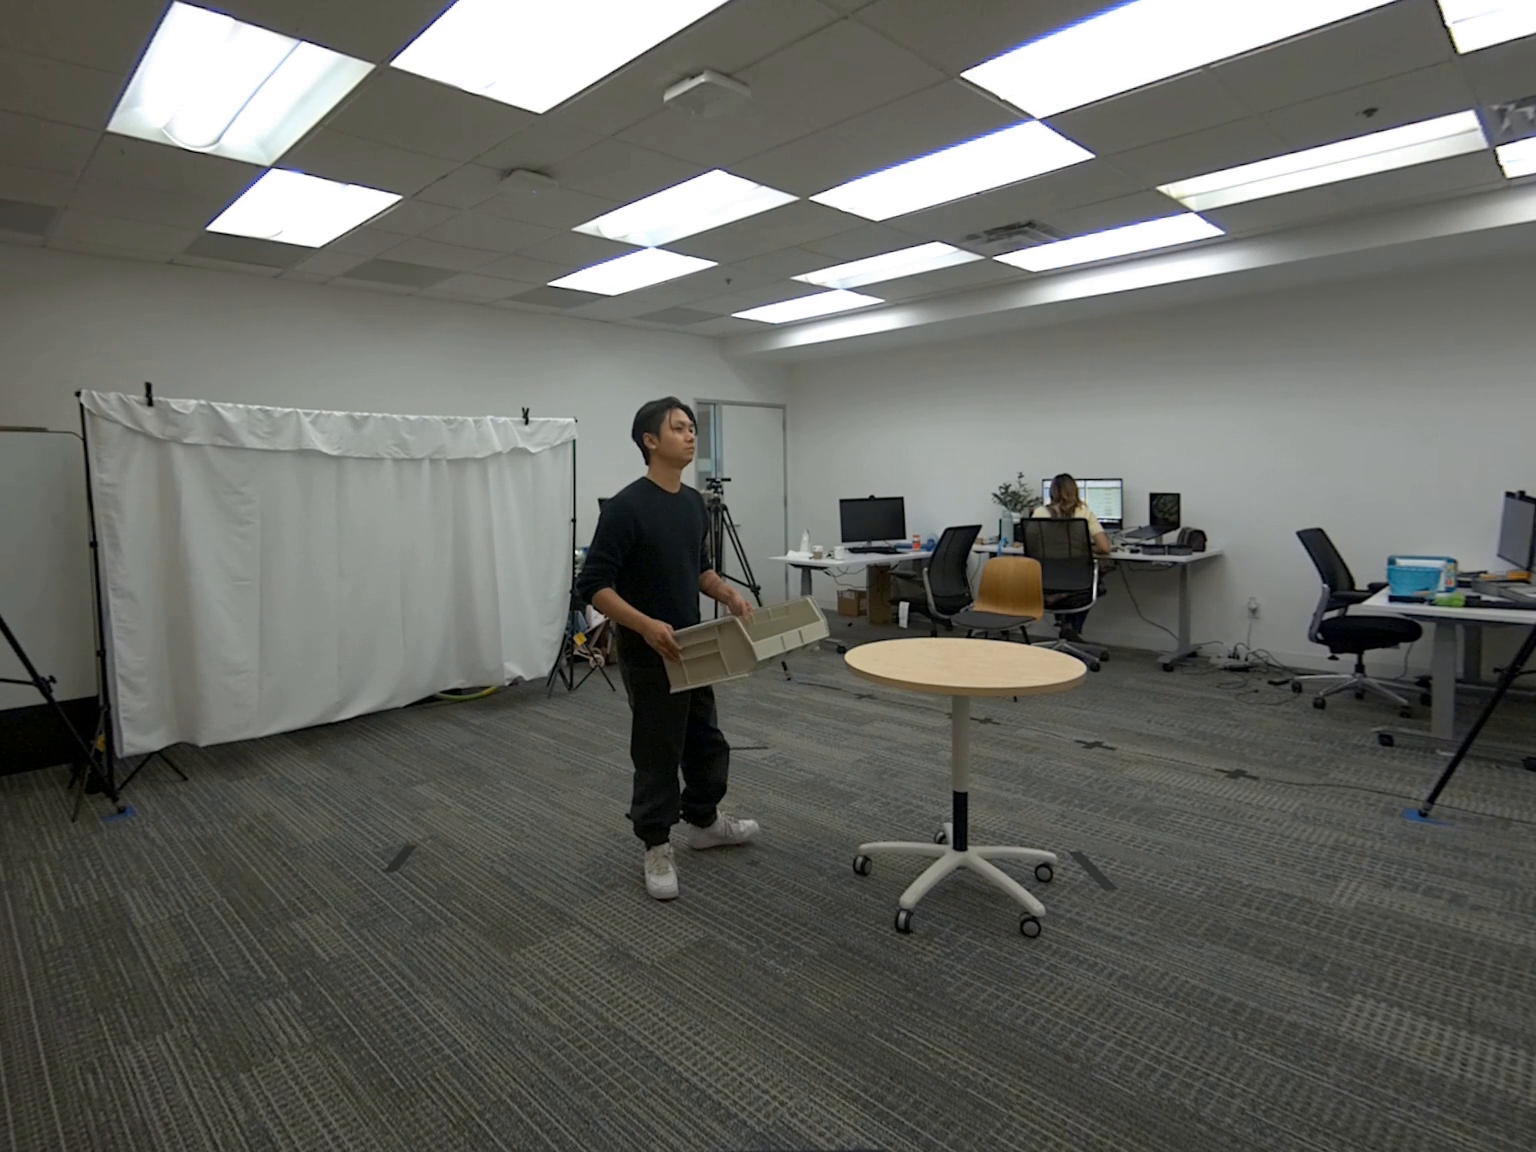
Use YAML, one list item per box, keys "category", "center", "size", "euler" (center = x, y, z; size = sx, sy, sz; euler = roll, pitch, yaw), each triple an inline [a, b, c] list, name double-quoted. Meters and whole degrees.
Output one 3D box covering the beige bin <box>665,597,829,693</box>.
- category: "beige bin"
  center: [-0.073, 0.210, 2.710]
  size: [0.384, 0.190, 0.413]
  euler: [-18, -3, 36]
